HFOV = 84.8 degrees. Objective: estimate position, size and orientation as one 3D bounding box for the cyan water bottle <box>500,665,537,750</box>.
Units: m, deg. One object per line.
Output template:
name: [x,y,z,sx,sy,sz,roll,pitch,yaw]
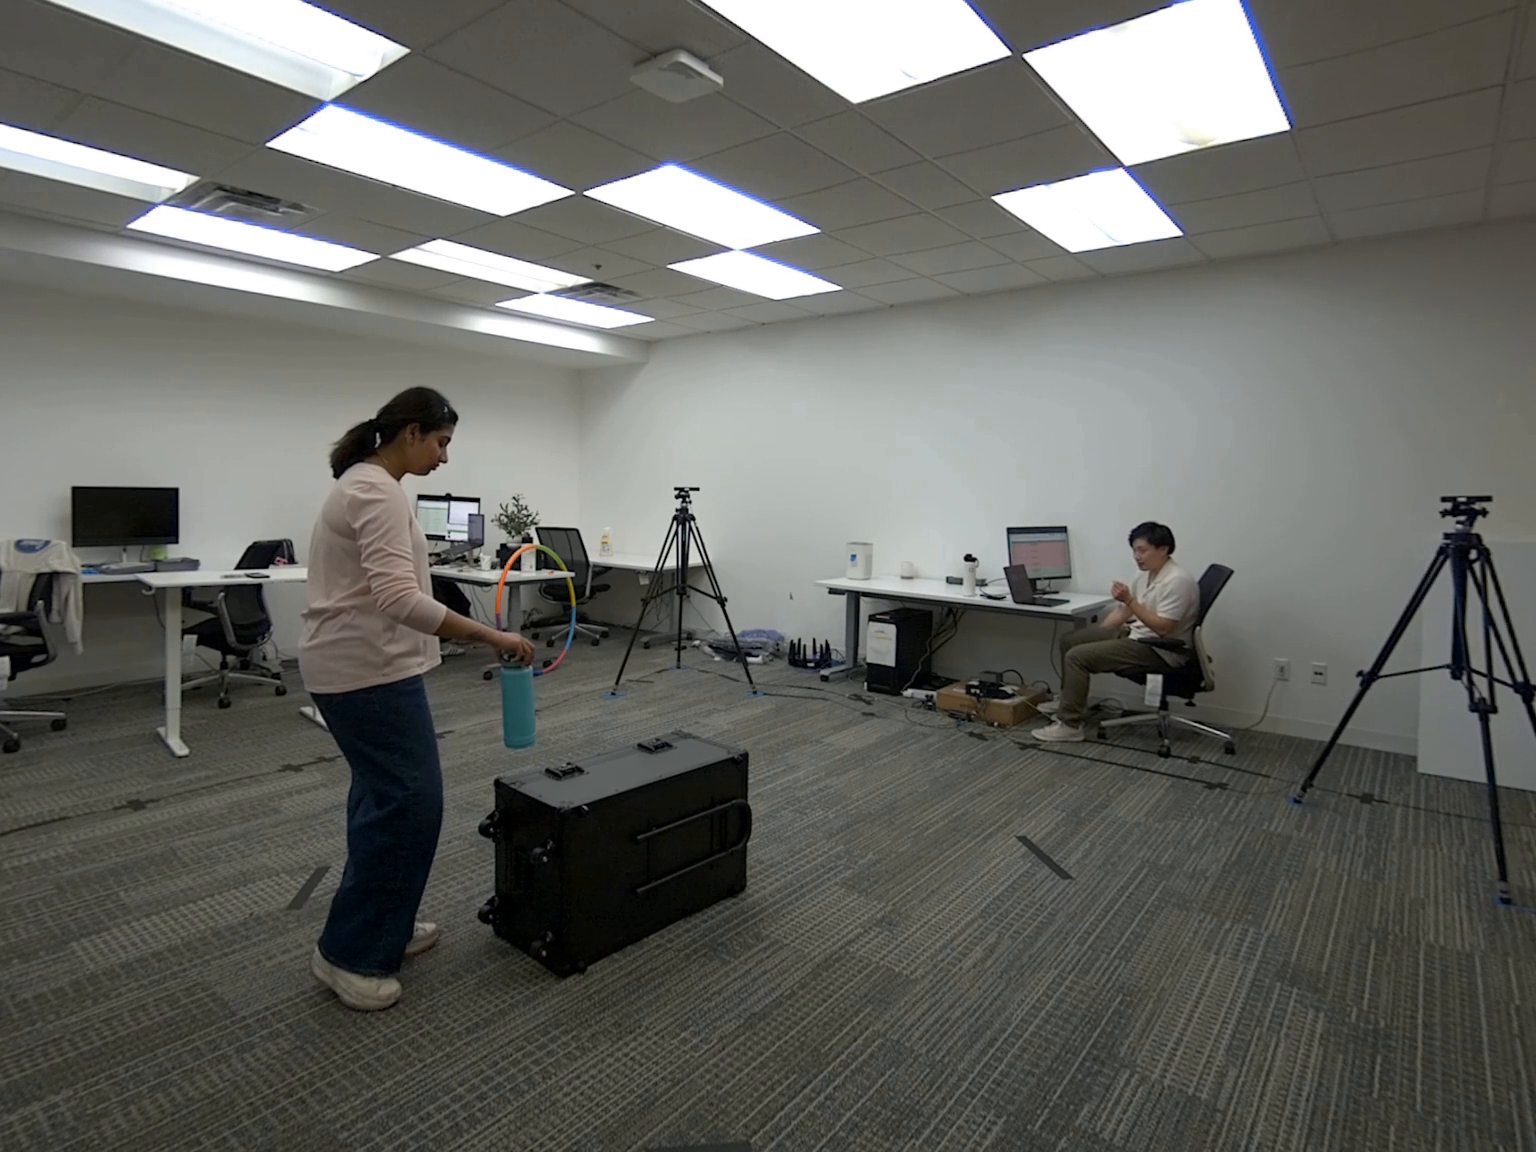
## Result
cyan water bottle: [-0.723,0.344,2.374,0.092,0.281,0.093,-1,8,-2]
